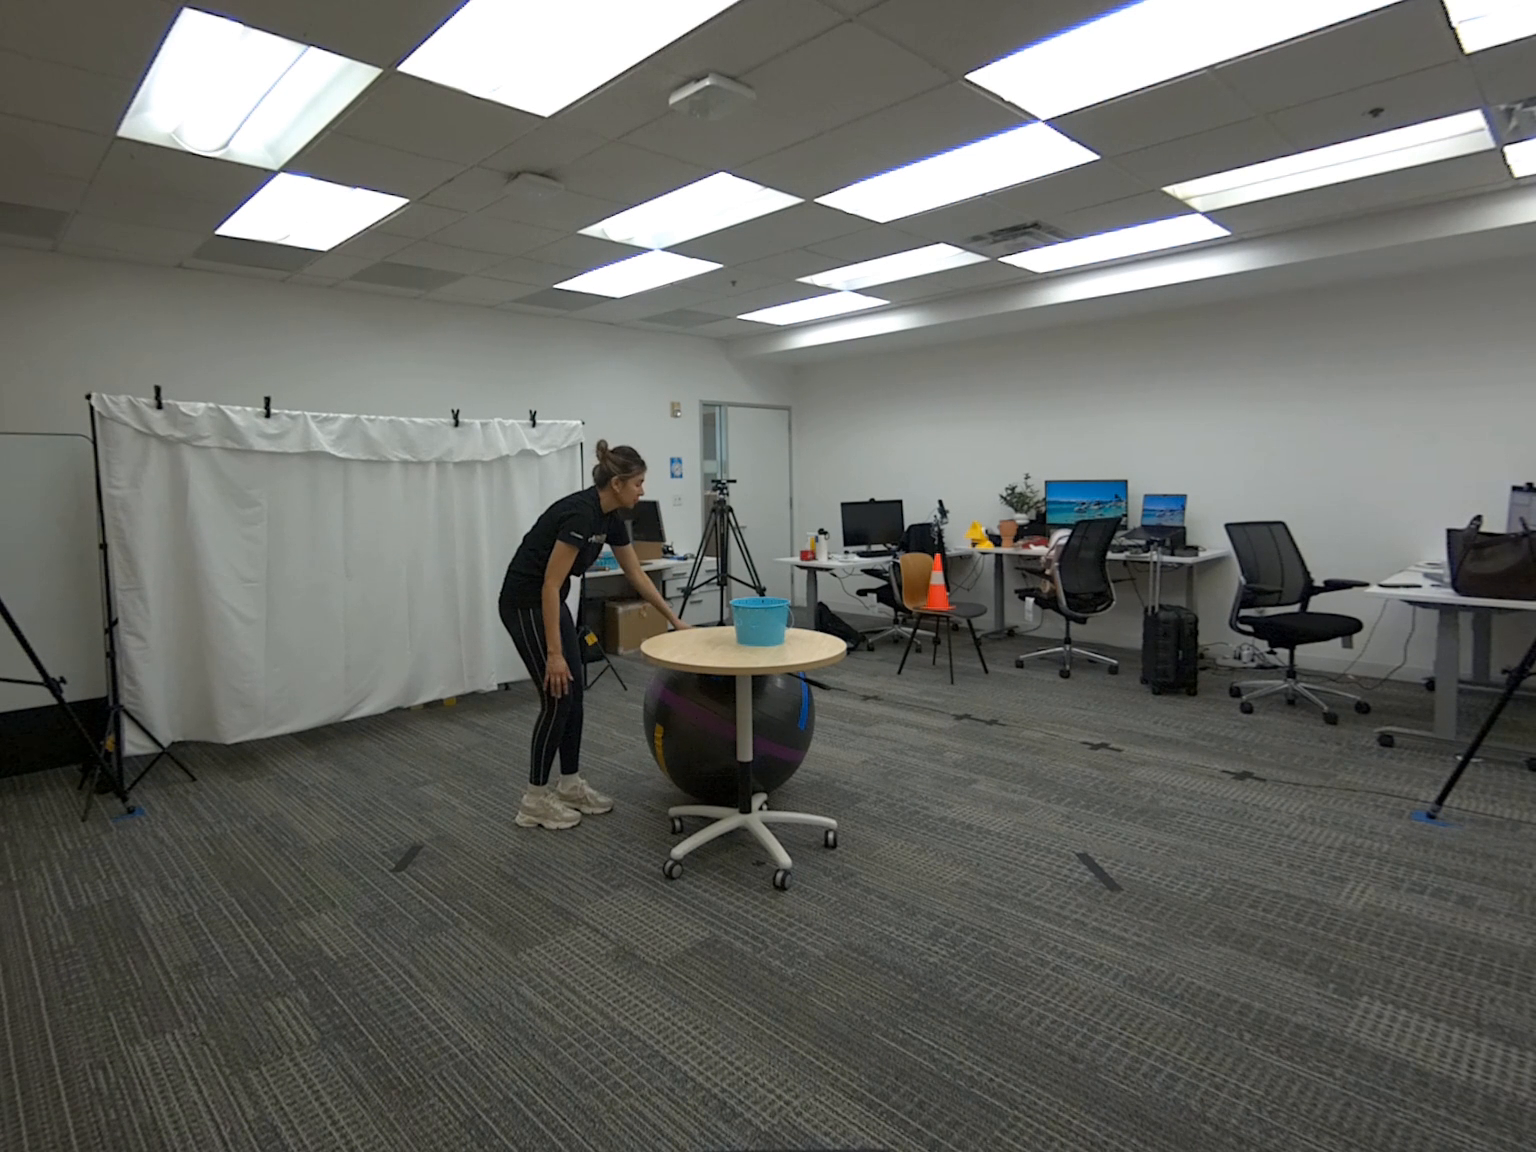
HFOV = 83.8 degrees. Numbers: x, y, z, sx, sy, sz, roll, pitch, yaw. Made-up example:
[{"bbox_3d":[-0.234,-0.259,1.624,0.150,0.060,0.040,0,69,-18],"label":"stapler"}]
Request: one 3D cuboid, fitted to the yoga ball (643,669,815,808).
[{"bbox_3d":[-0.175,0.608,3.783,0.757,0.755,0.762,-1,5,-2],"label":"yoga ball"}]
